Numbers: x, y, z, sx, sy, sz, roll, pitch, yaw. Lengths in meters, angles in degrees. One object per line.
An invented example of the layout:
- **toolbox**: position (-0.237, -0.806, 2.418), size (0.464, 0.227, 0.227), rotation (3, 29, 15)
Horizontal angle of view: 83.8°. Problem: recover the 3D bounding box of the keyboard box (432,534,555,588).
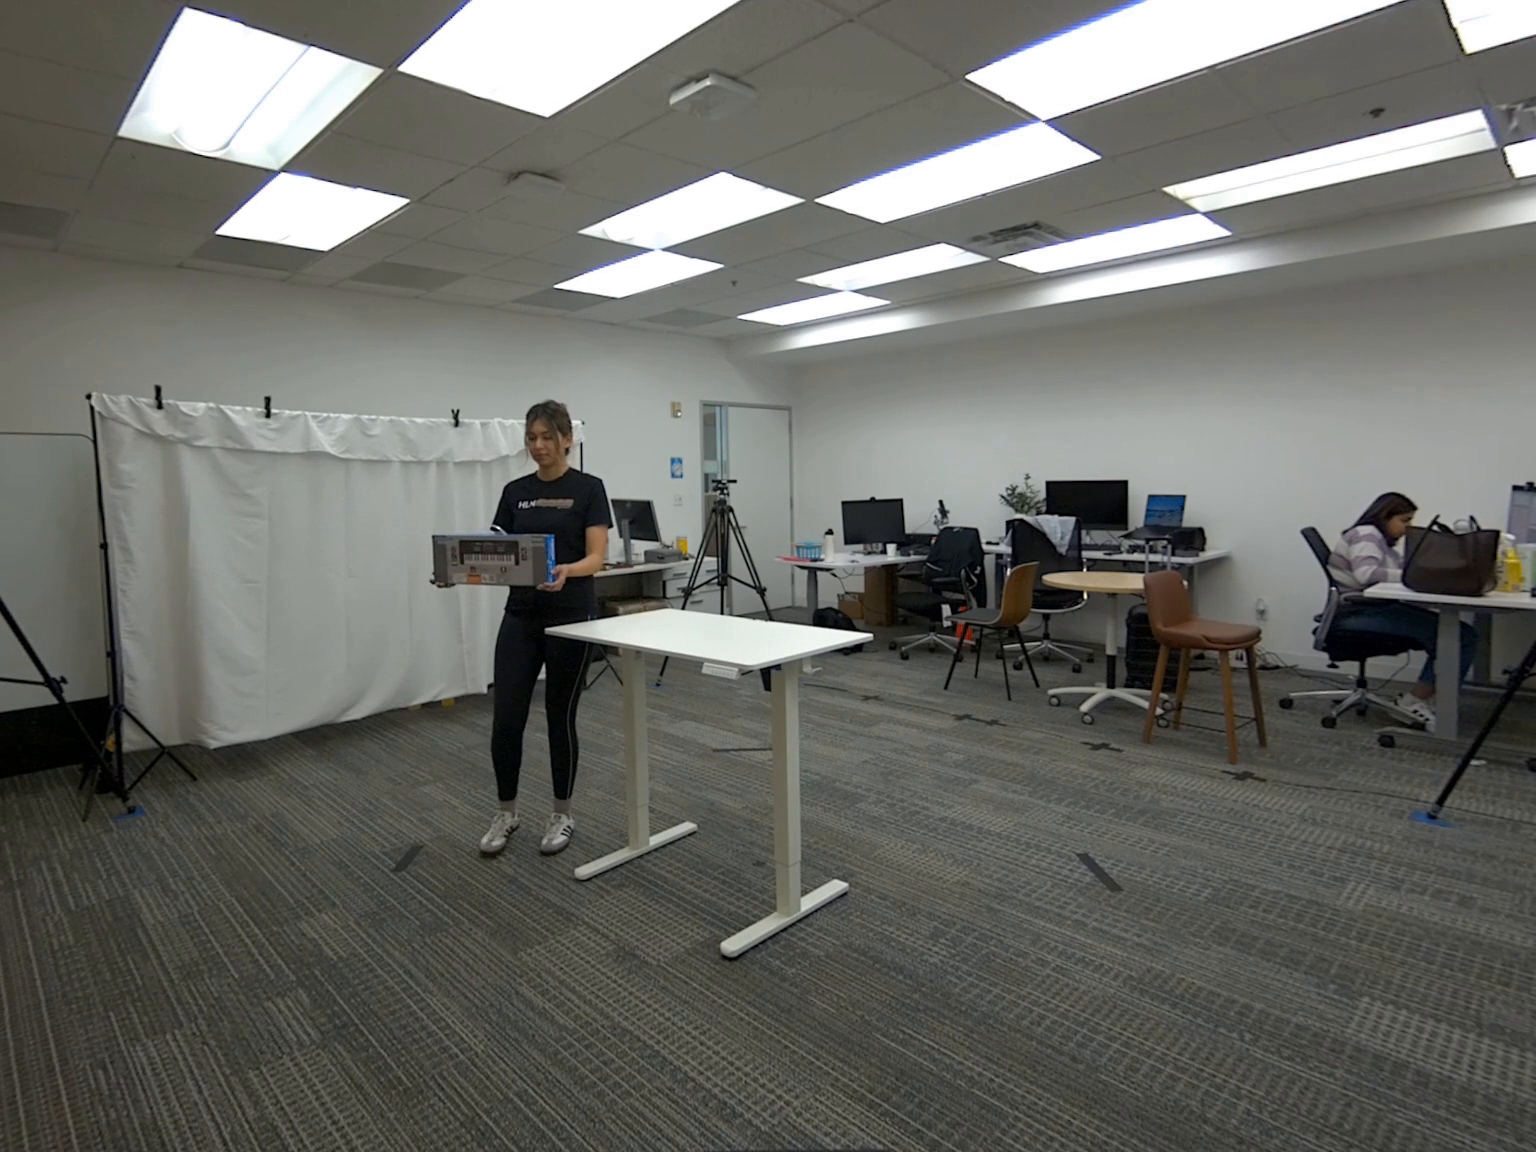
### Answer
- **keyboard box**: position (-0.963, -0.059, 2.956), size (0.443, 0.175, 0.058), rotation (-1, 5, 15)
